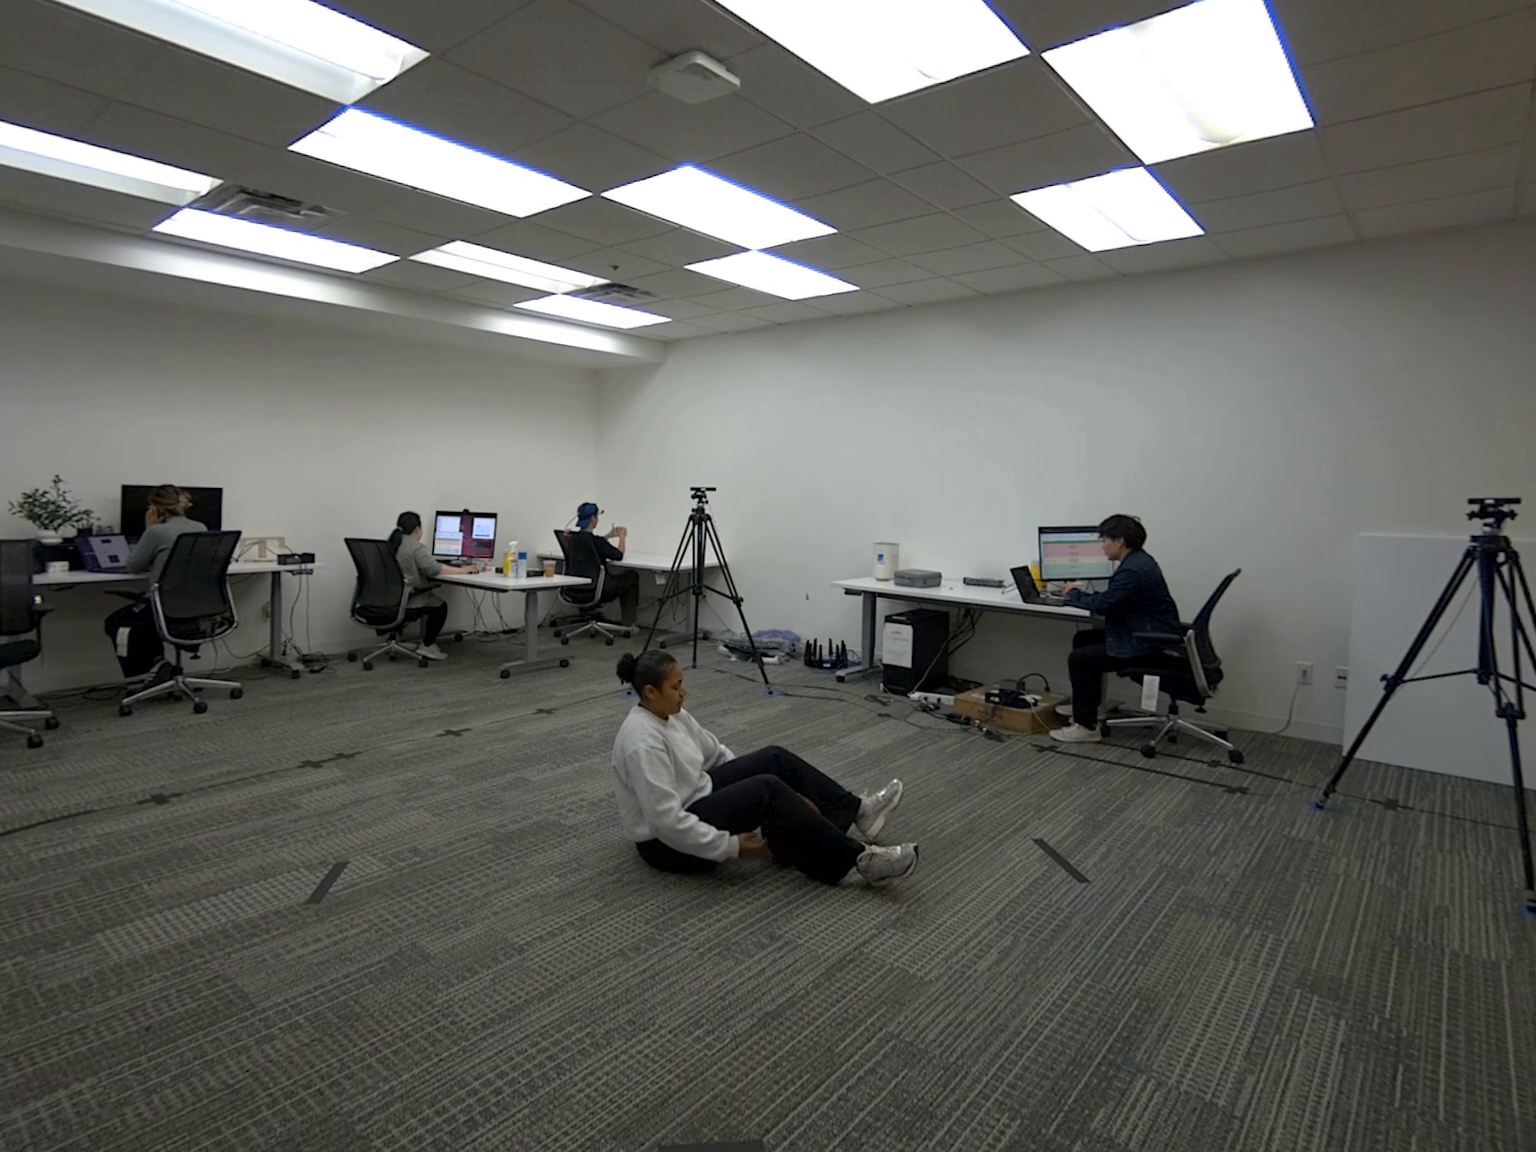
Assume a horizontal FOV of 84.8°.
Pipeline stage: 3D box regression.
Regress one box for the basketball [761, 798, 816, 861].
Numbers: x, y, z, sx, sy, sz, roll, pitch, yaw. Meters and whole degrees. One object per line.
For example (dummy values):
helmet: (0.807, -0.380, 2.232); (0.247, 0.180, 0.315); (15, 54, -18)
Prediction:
basketball: (0.093, 0.940, 3.195); (0.235, 0.235, 0.237); (1, 4, -2)
